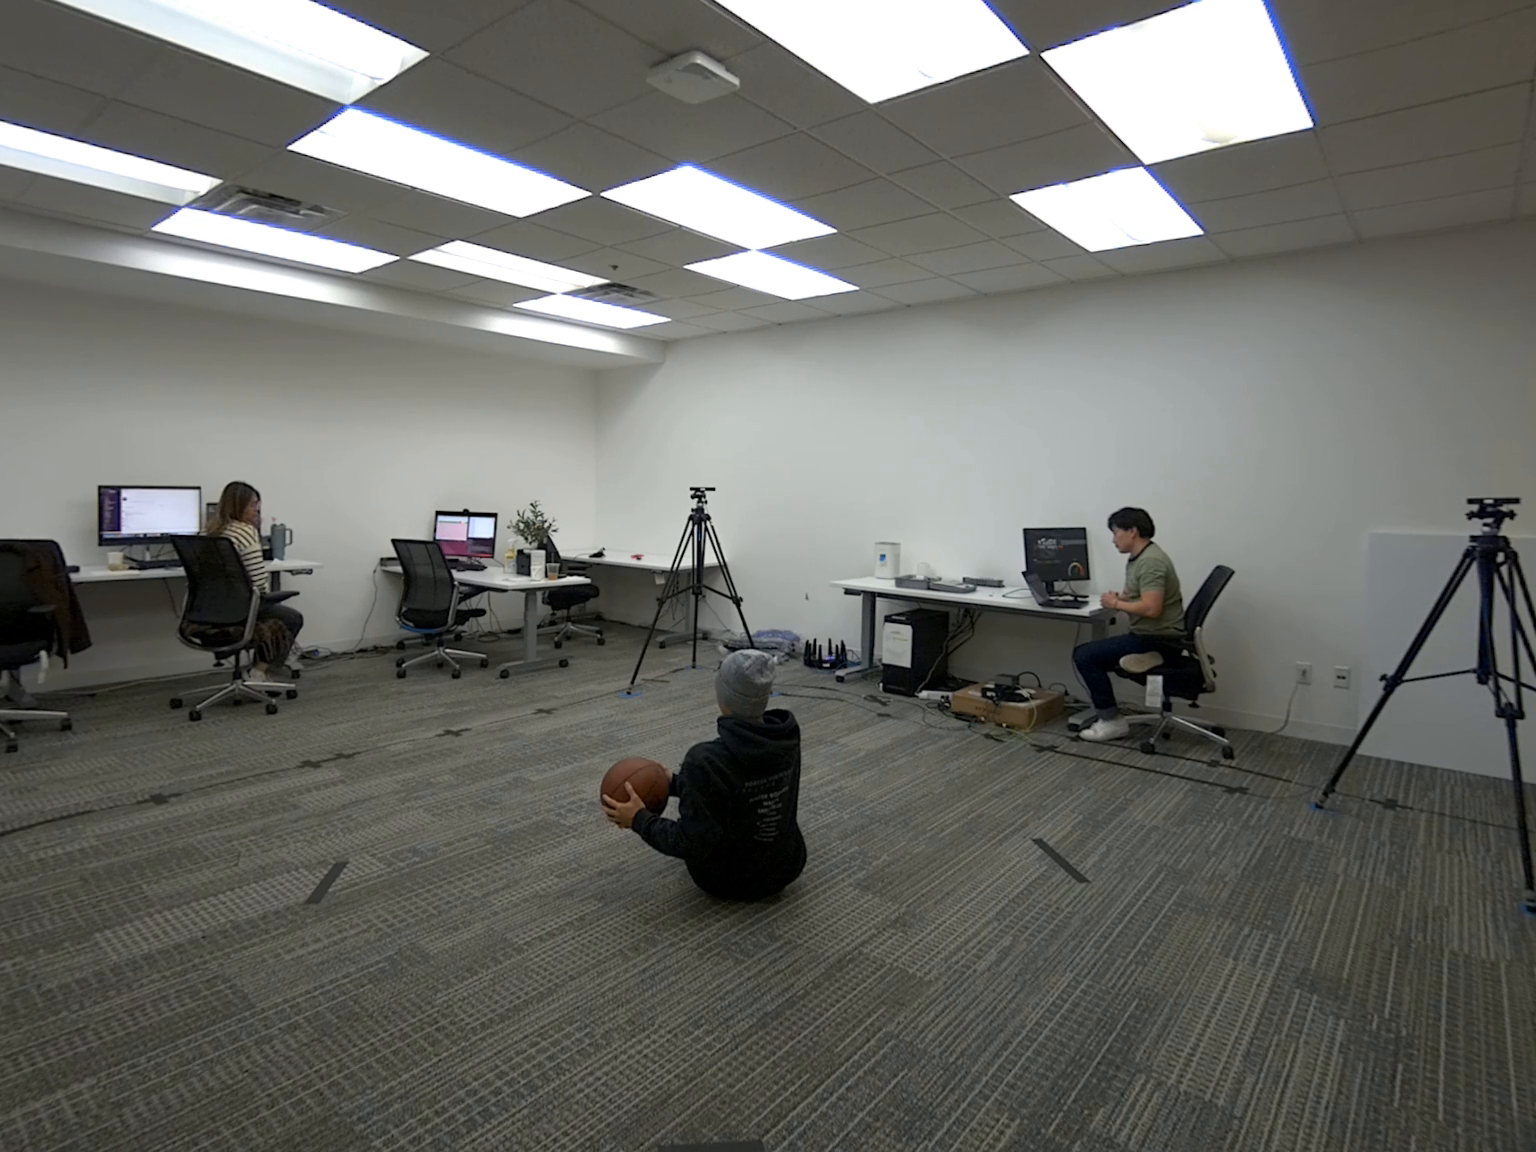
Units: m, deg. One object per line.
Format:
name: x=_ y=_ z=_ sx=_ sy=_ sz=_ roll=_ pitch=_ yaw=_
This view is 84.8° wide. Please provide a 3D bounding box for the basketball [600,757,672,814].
basketball: x=-0.469 y=0.741 z=2.958 sx=0.235 sy=0.235 sz=0.237 roll=1 pitch=4 yaw=-2
